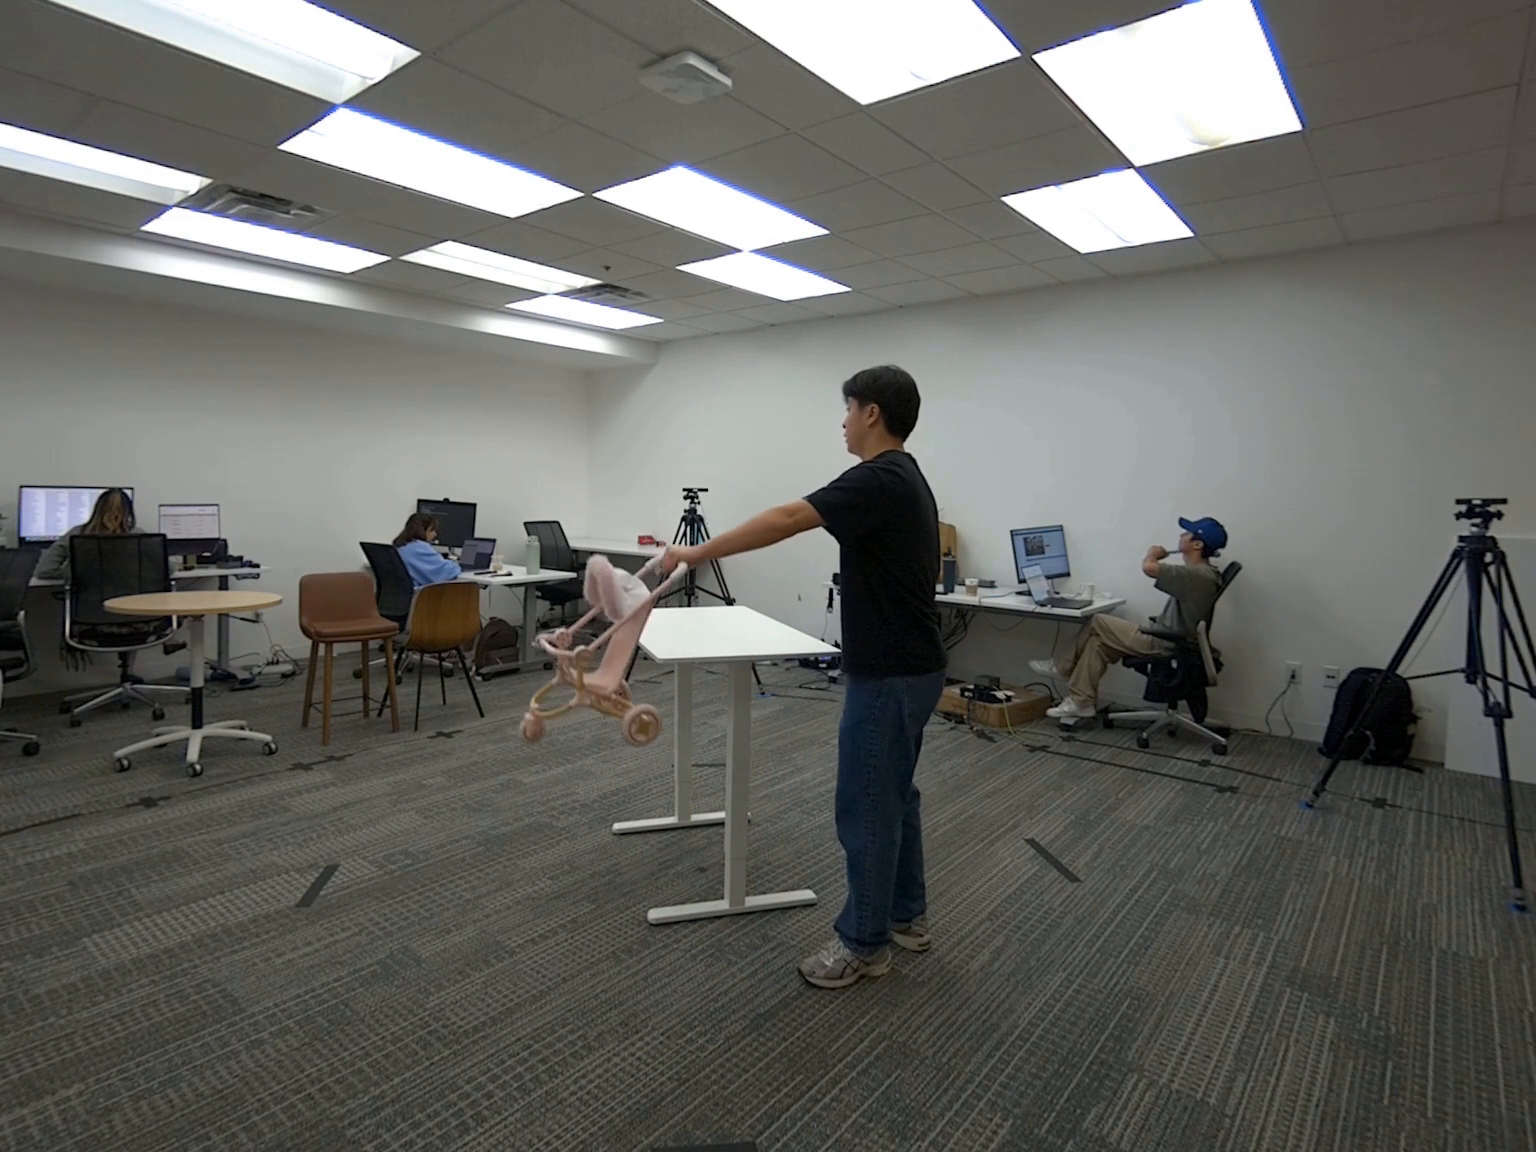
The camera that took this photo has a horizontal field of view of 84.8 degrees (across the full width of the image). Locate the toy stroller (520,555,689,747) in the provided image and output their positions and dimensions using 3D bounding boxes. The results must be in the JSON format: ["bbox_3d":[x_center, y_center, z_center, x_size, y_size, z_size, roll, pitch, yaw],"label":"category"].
[{"bbox_3d":[-0.447,0.190,2.214,0.333,0.534,0.289,10,3,-23],"label":"toy stroller"}]
